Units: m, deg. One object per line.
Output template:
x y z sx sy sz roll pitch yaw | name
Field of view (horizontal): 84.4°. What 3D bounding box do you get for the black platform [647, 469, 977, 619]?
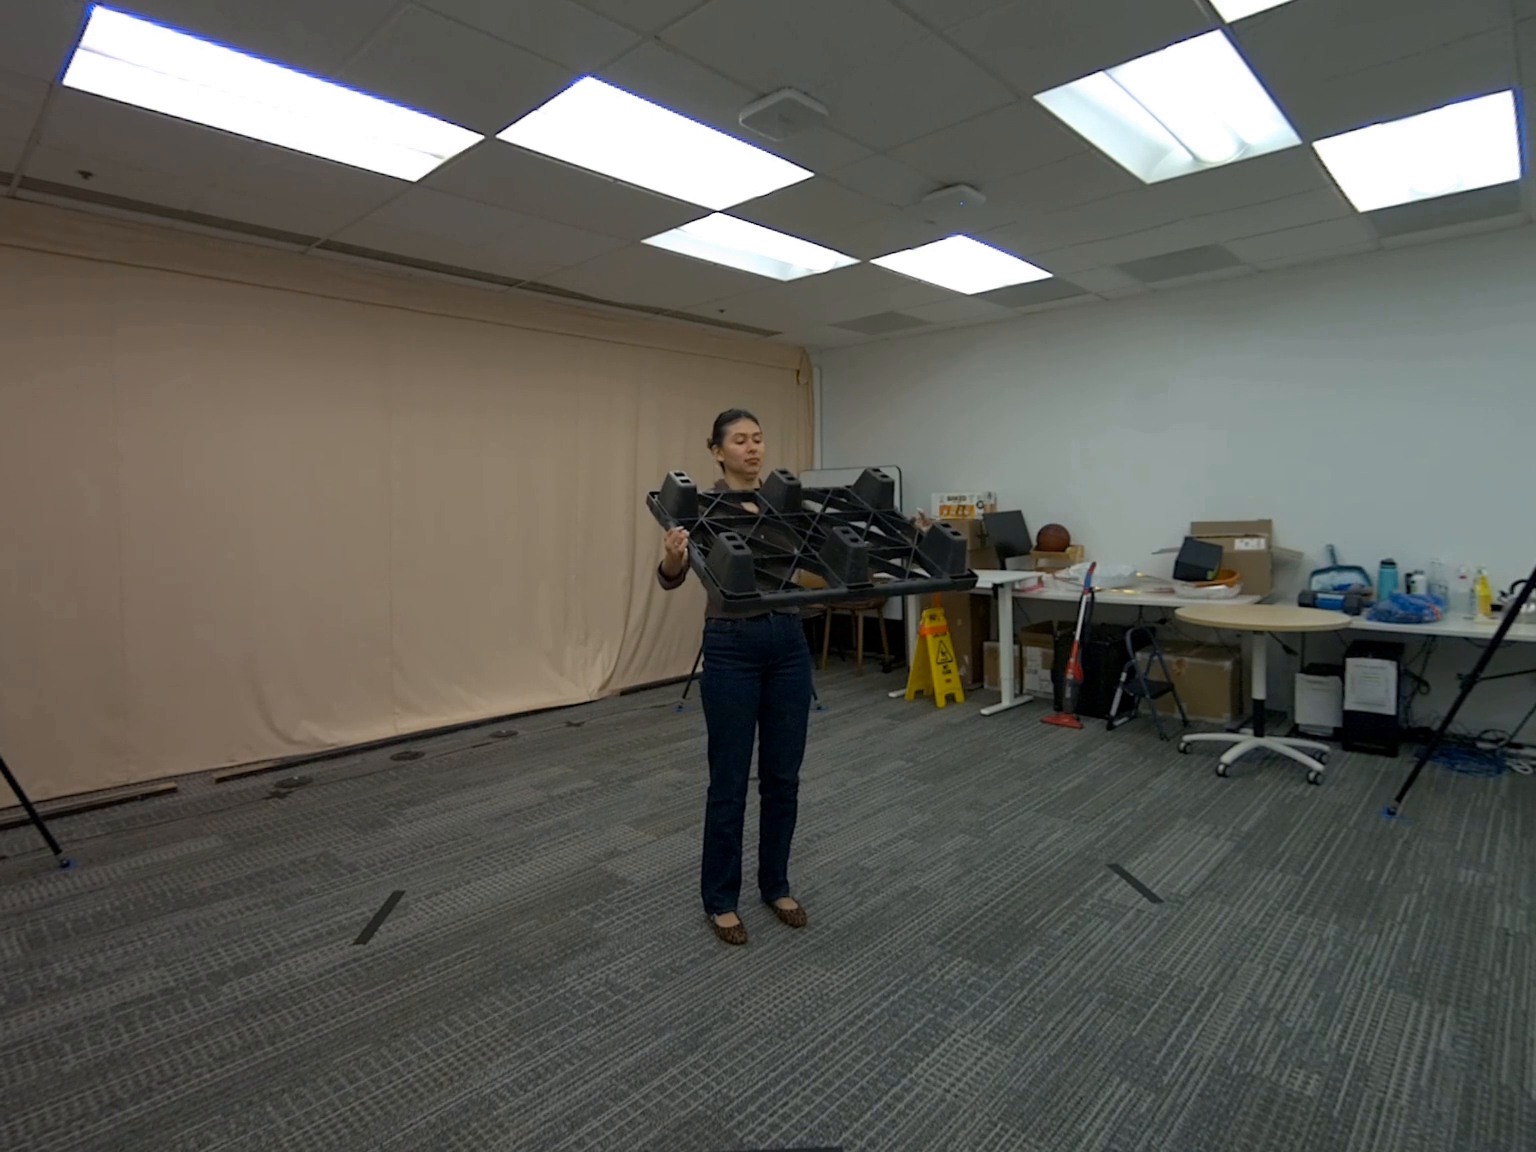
0.128 -0.141 2.409 0.787 0.142 0.626 -5 33 -25 | black platform
